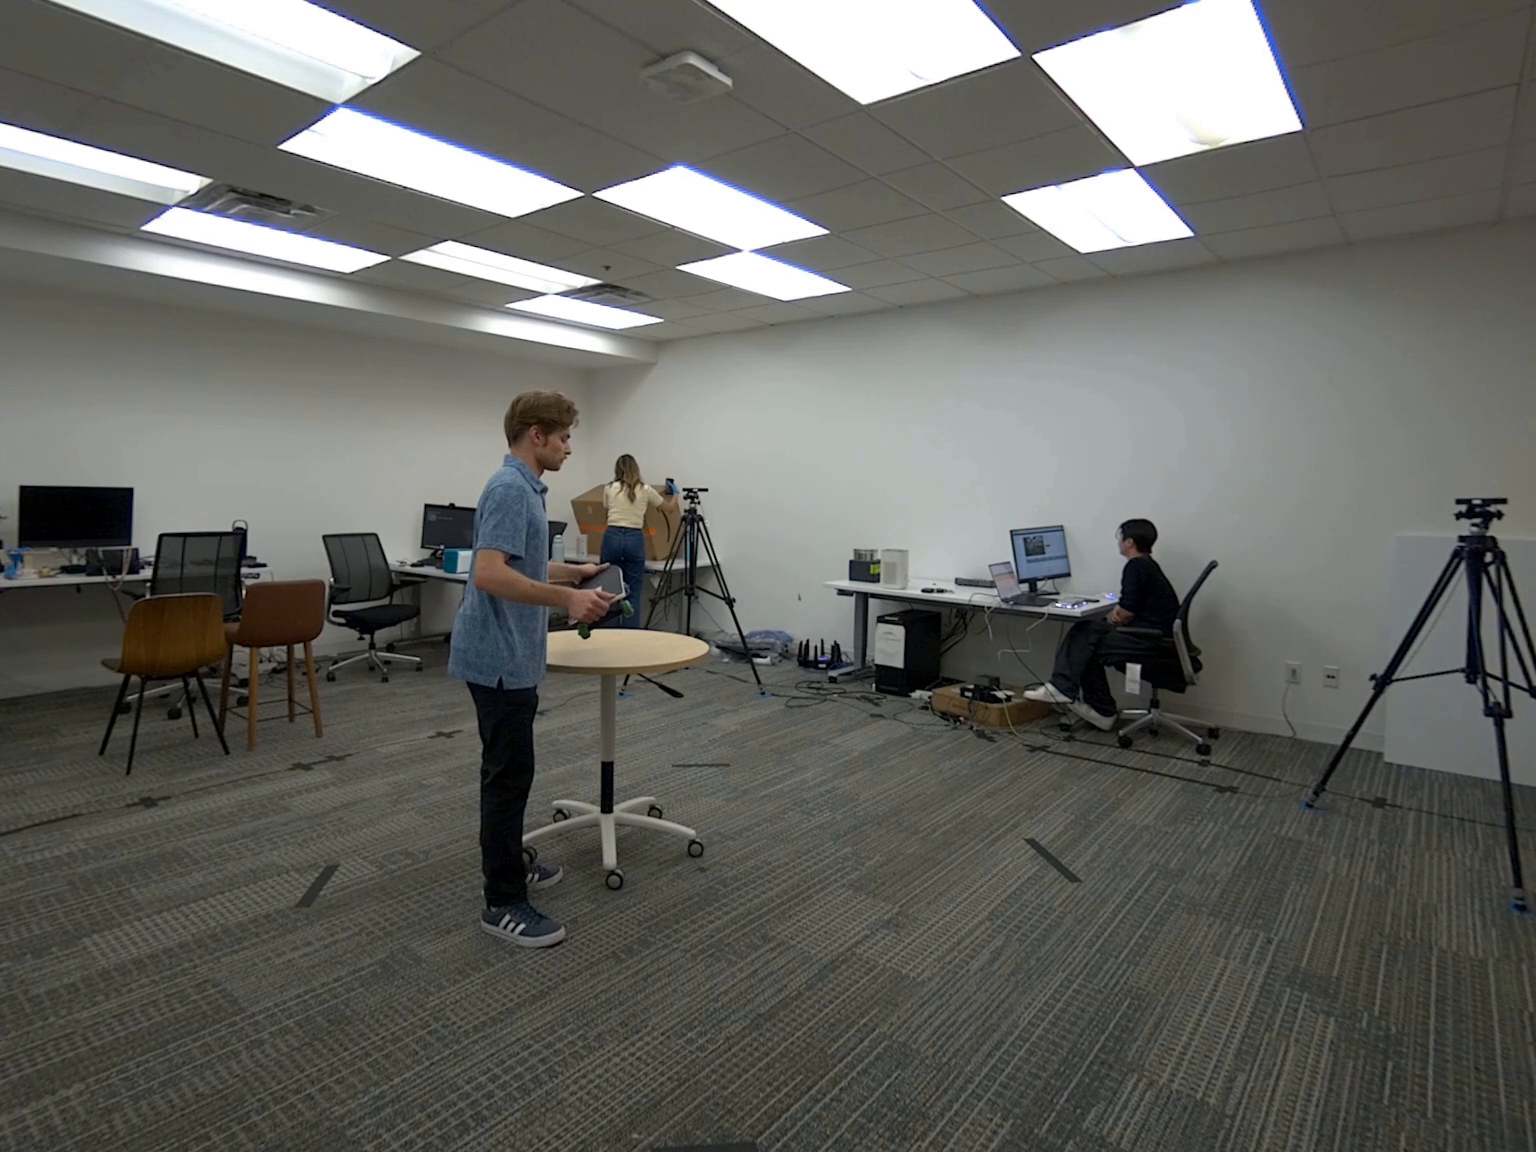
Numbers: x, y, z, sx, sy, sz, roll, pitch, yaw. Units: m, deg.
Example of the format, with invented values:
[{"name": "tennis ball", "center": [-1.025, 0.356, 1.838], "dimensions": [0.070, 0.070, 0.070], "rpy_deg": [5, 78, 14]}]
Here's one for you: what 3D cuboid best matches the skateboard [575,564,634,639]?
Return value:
[{"name": "skateboard", "center": [-0.587, 0.091, 2.898], "dimensions": [0.193, 0.109, 0.799], "rpy_deg": [-28, 13, -6]}]
